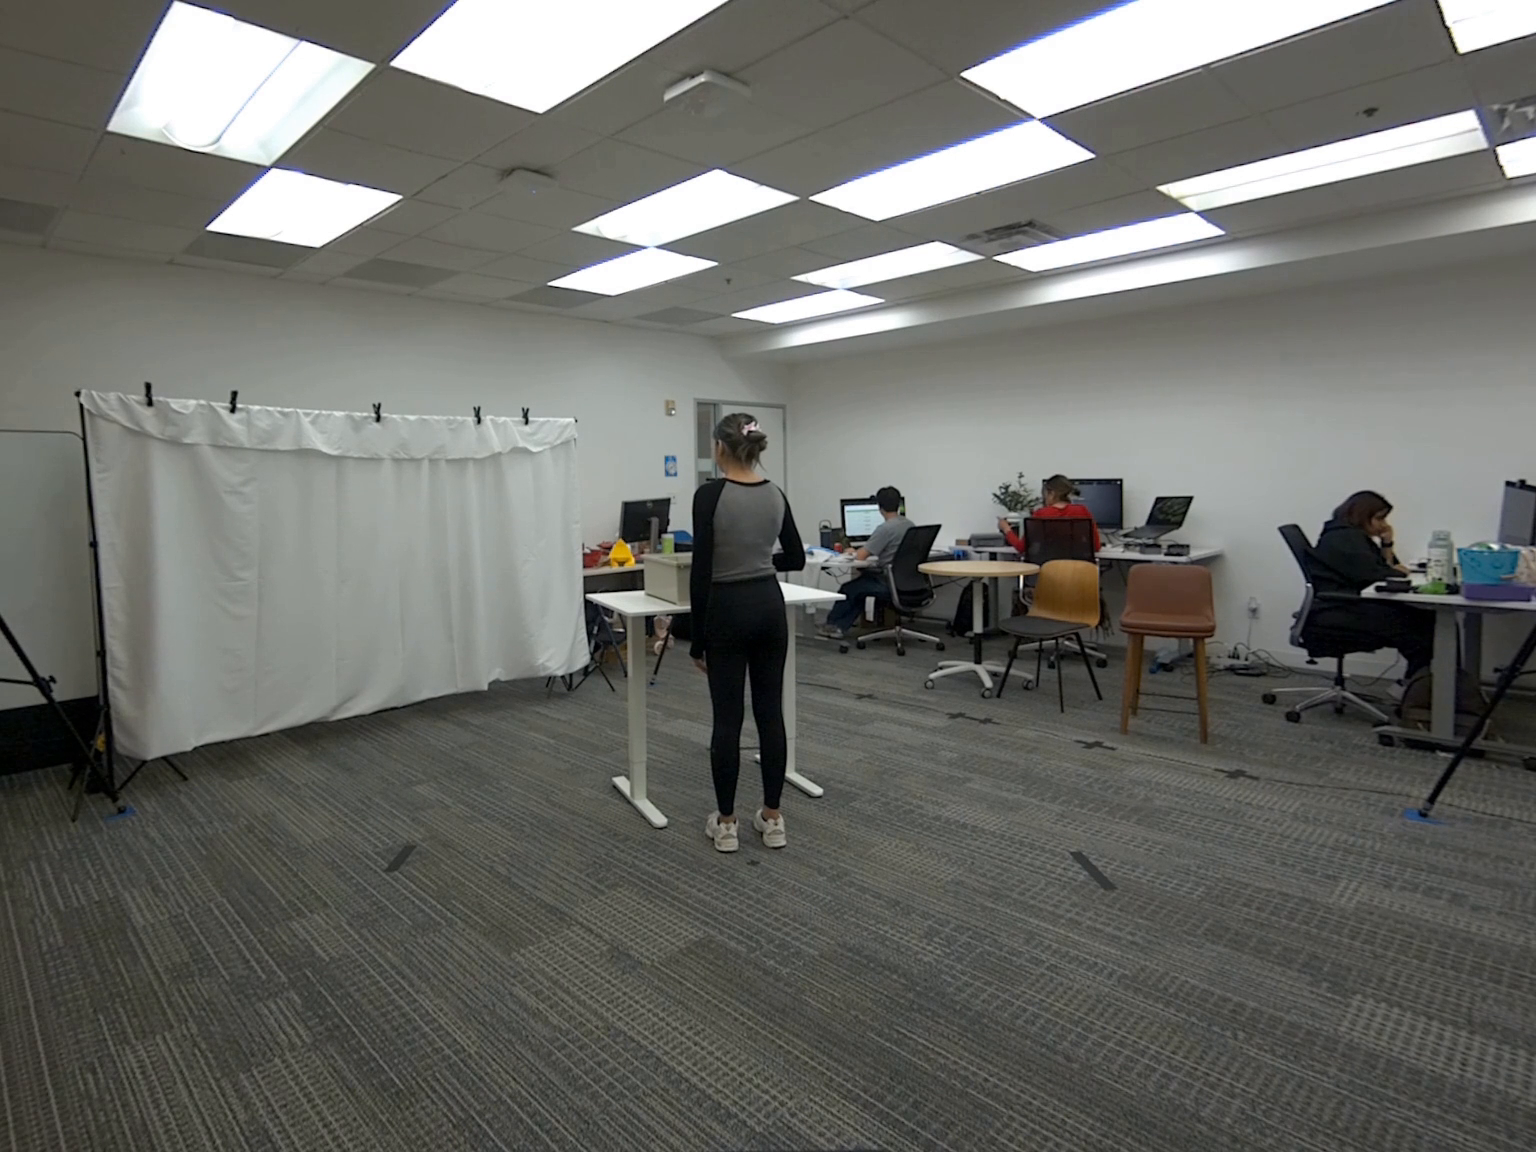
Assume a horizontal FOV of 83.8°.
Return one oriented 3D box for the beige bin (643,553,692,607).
[{"bbox_3d":[-0.300,0.008,3.711,0.369,0.188,0.434,-5,8,-26],"label":"beige bin"}]
